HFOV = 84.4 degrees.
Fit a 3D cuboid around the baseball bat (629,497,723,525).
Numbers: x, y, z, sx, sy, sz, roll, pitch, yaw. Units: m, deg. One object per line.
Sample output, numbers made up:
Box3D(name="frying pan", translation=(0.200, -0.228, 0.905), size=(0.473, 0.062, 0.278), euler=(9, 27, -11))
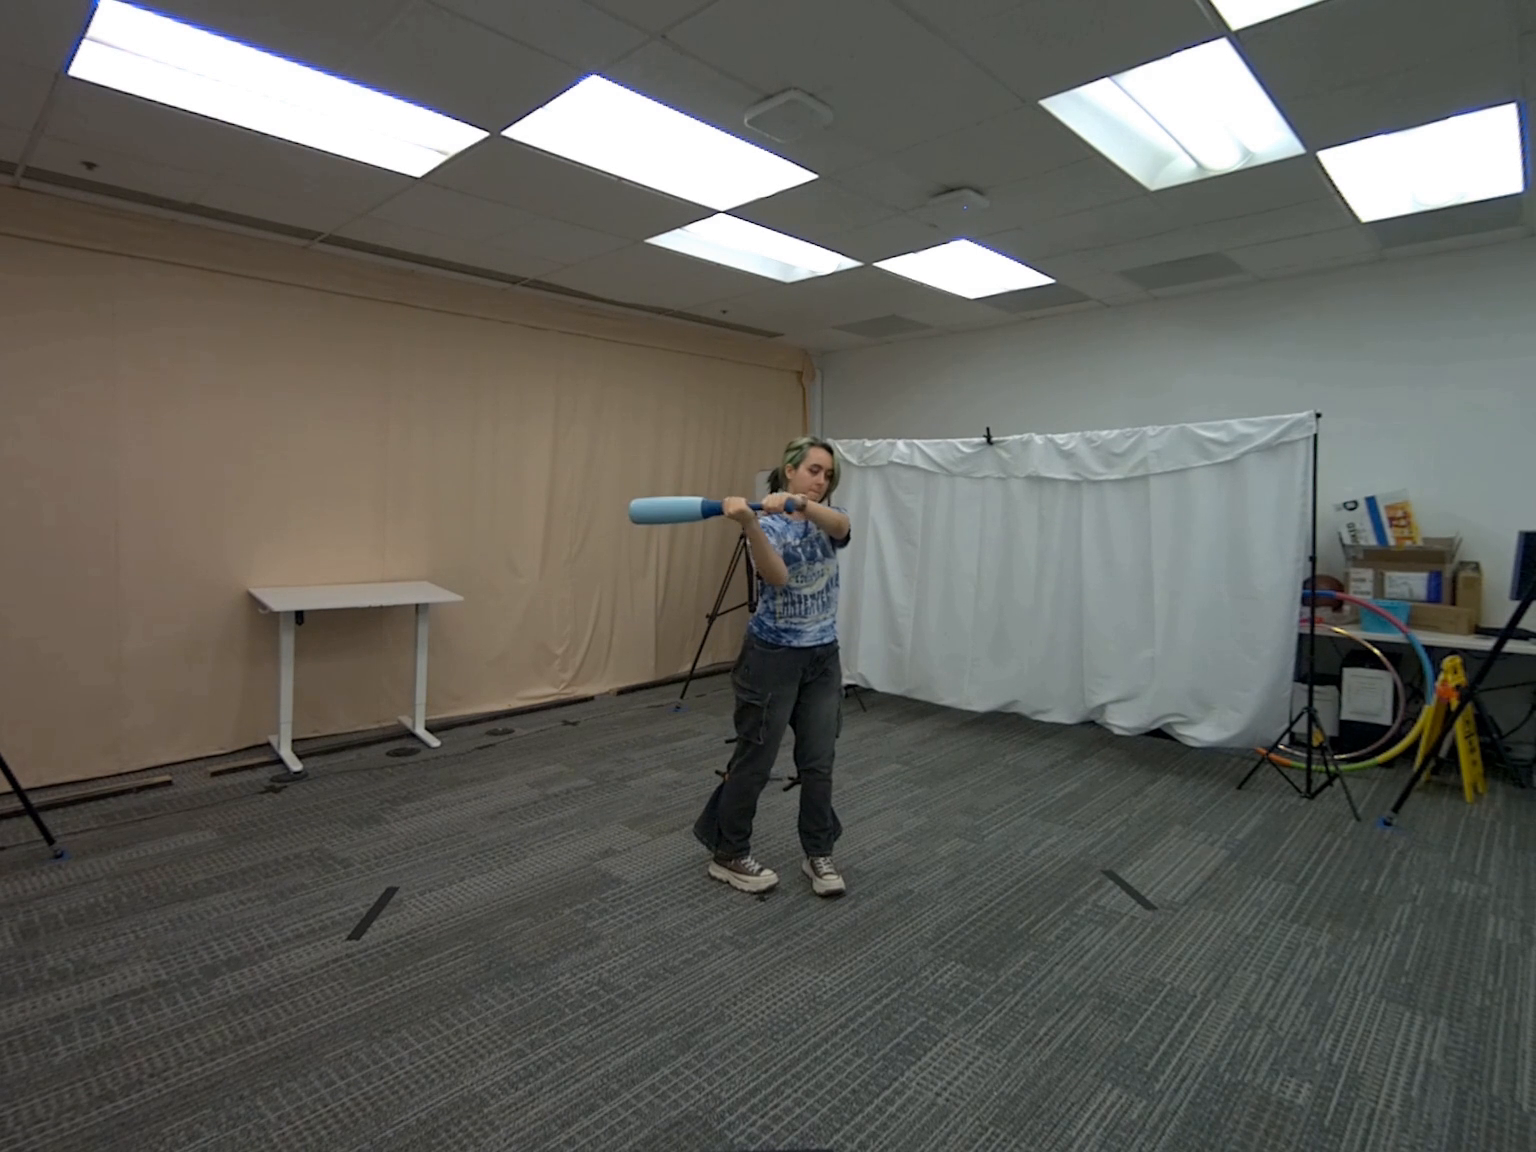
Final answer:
Box3D(name="baseball bat", translation=(-0.150, -0.206, 2.695), size=(0.552, 0.089, 0.088), euler=(0, 4, 16))
